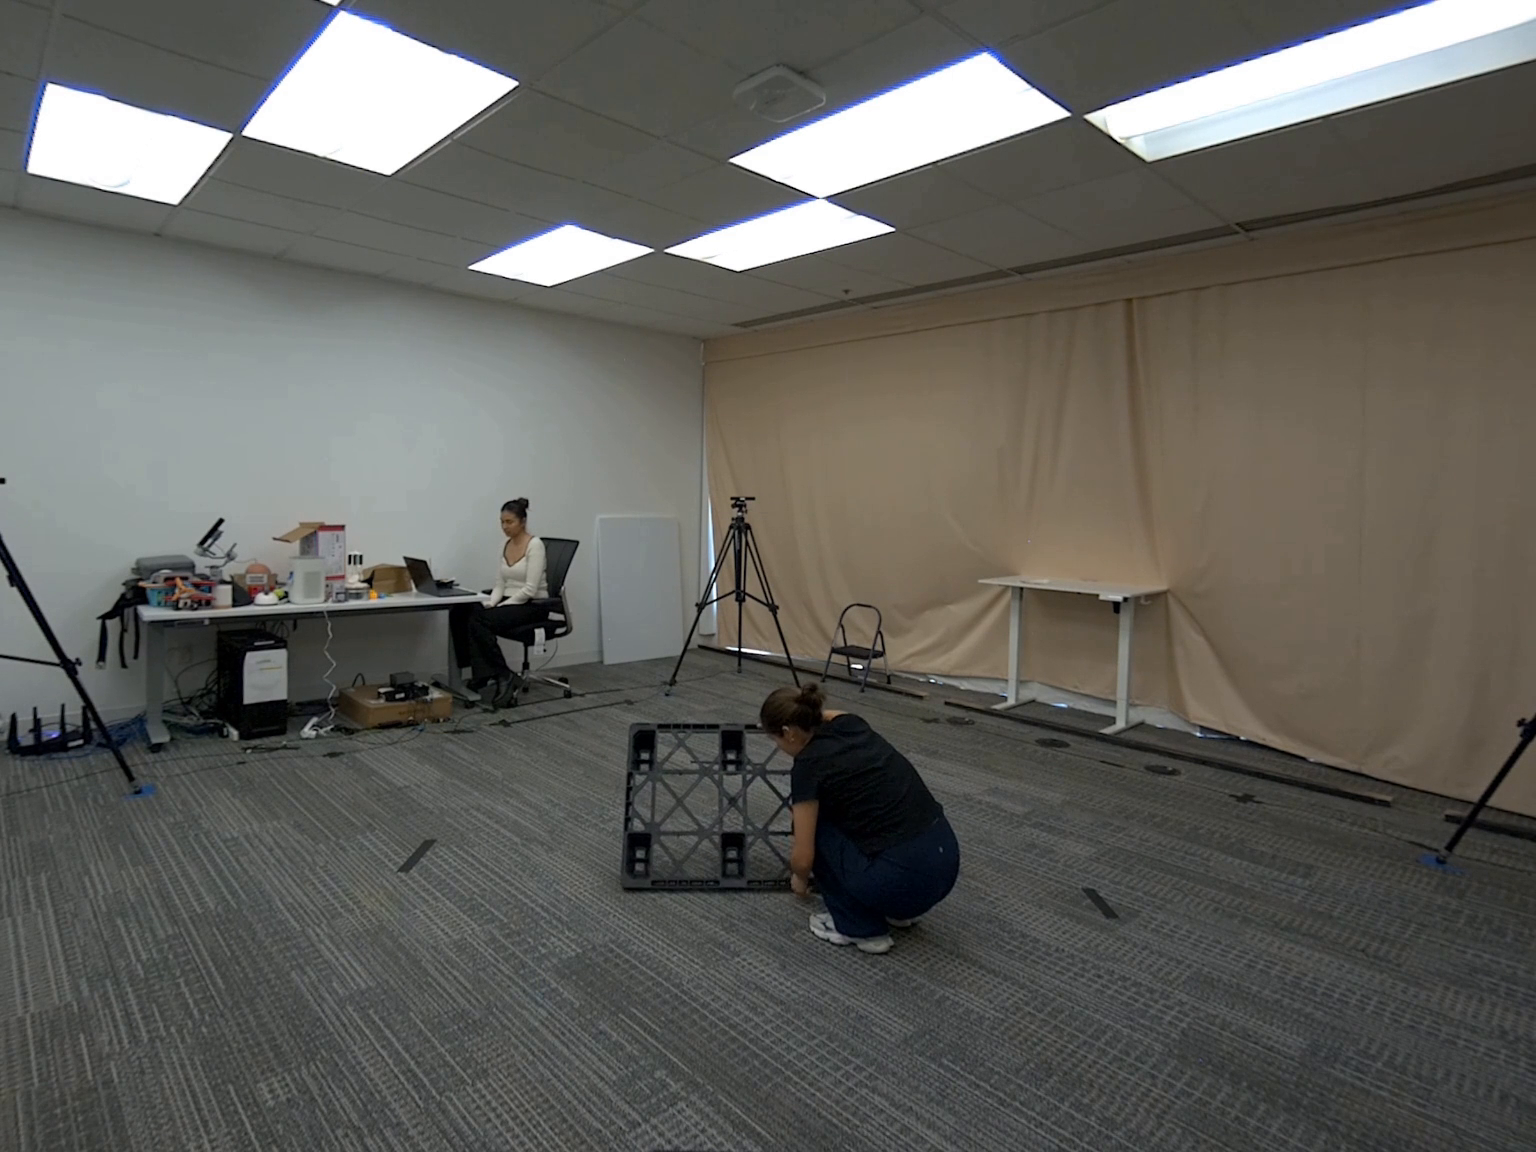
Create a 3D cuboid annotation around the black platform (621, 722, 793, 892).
[{"bbox_3d":[-0.144,0.863,3.164,0.804,0.617,0.141,1,-30,-3],"label":"black platform"}]
